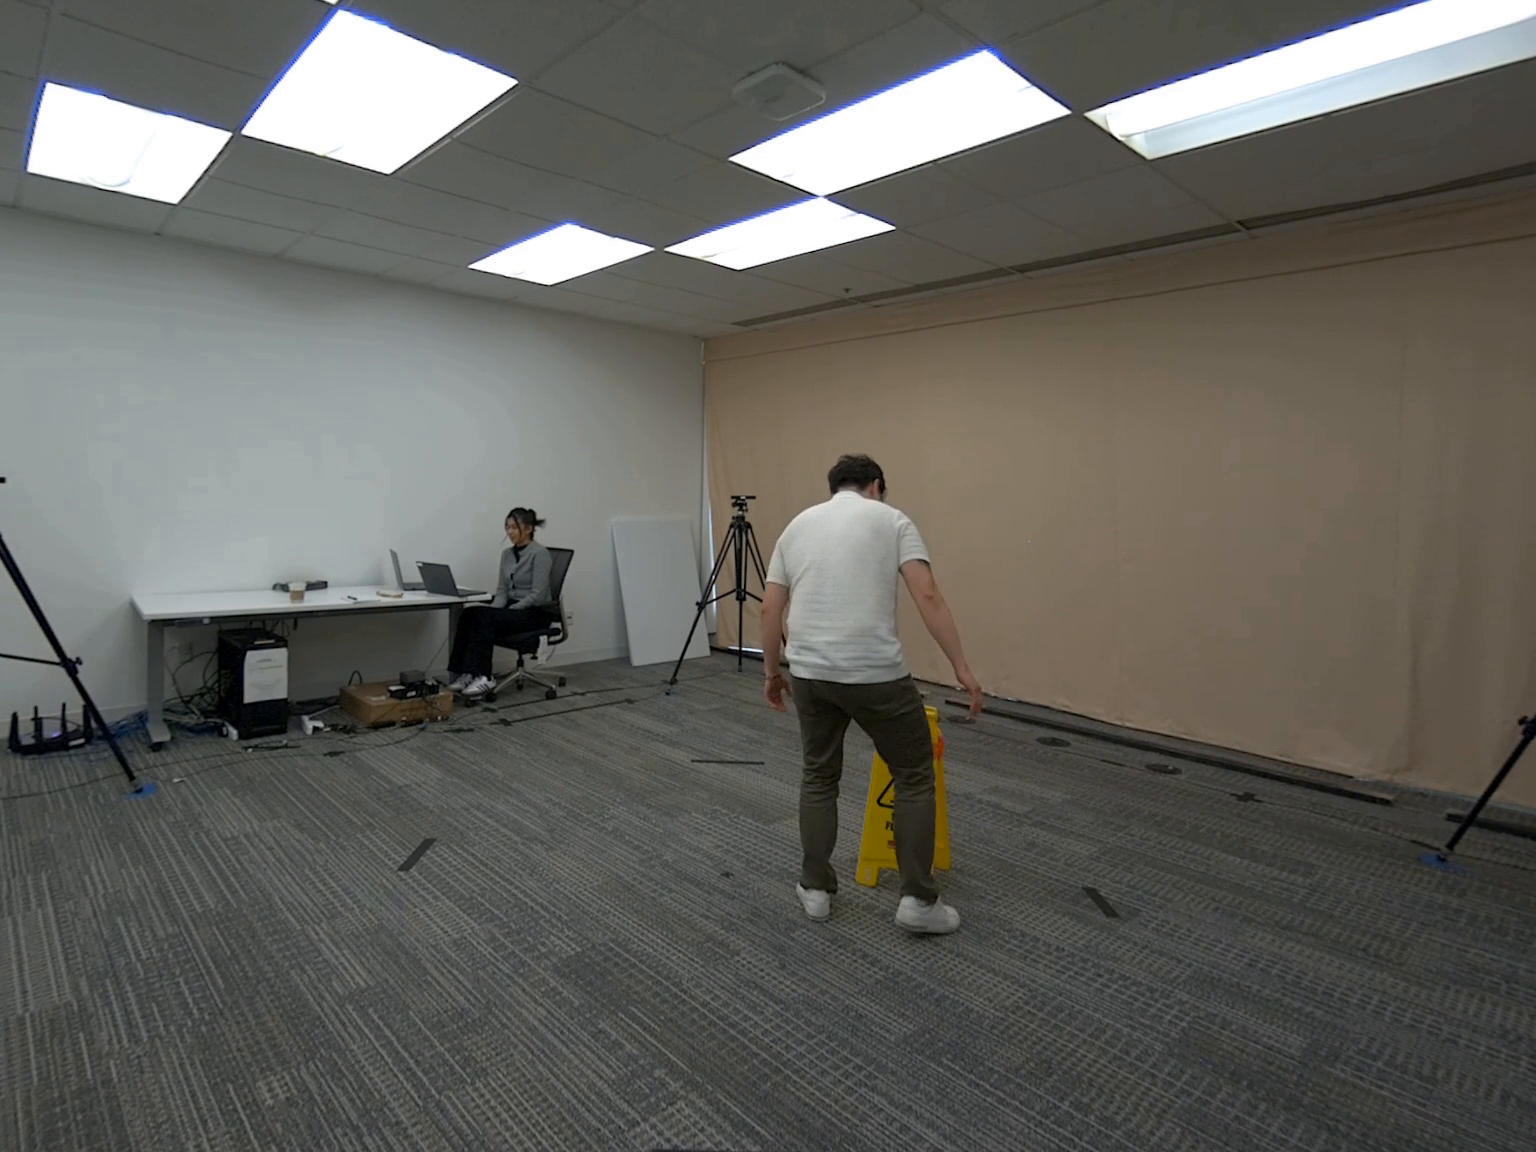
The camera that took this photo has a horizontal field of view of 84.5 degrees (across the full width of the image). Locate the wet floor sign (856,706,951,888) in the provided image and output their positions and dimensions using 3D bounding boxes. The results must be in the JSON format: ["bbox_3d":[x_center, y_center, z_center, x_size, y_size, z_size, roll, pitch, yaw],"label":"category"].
[{"bbox_3d":[0.510,0.794,3.114,0.288,0.644,0.284,4,4,25],"label":"wet floor sign"}]
